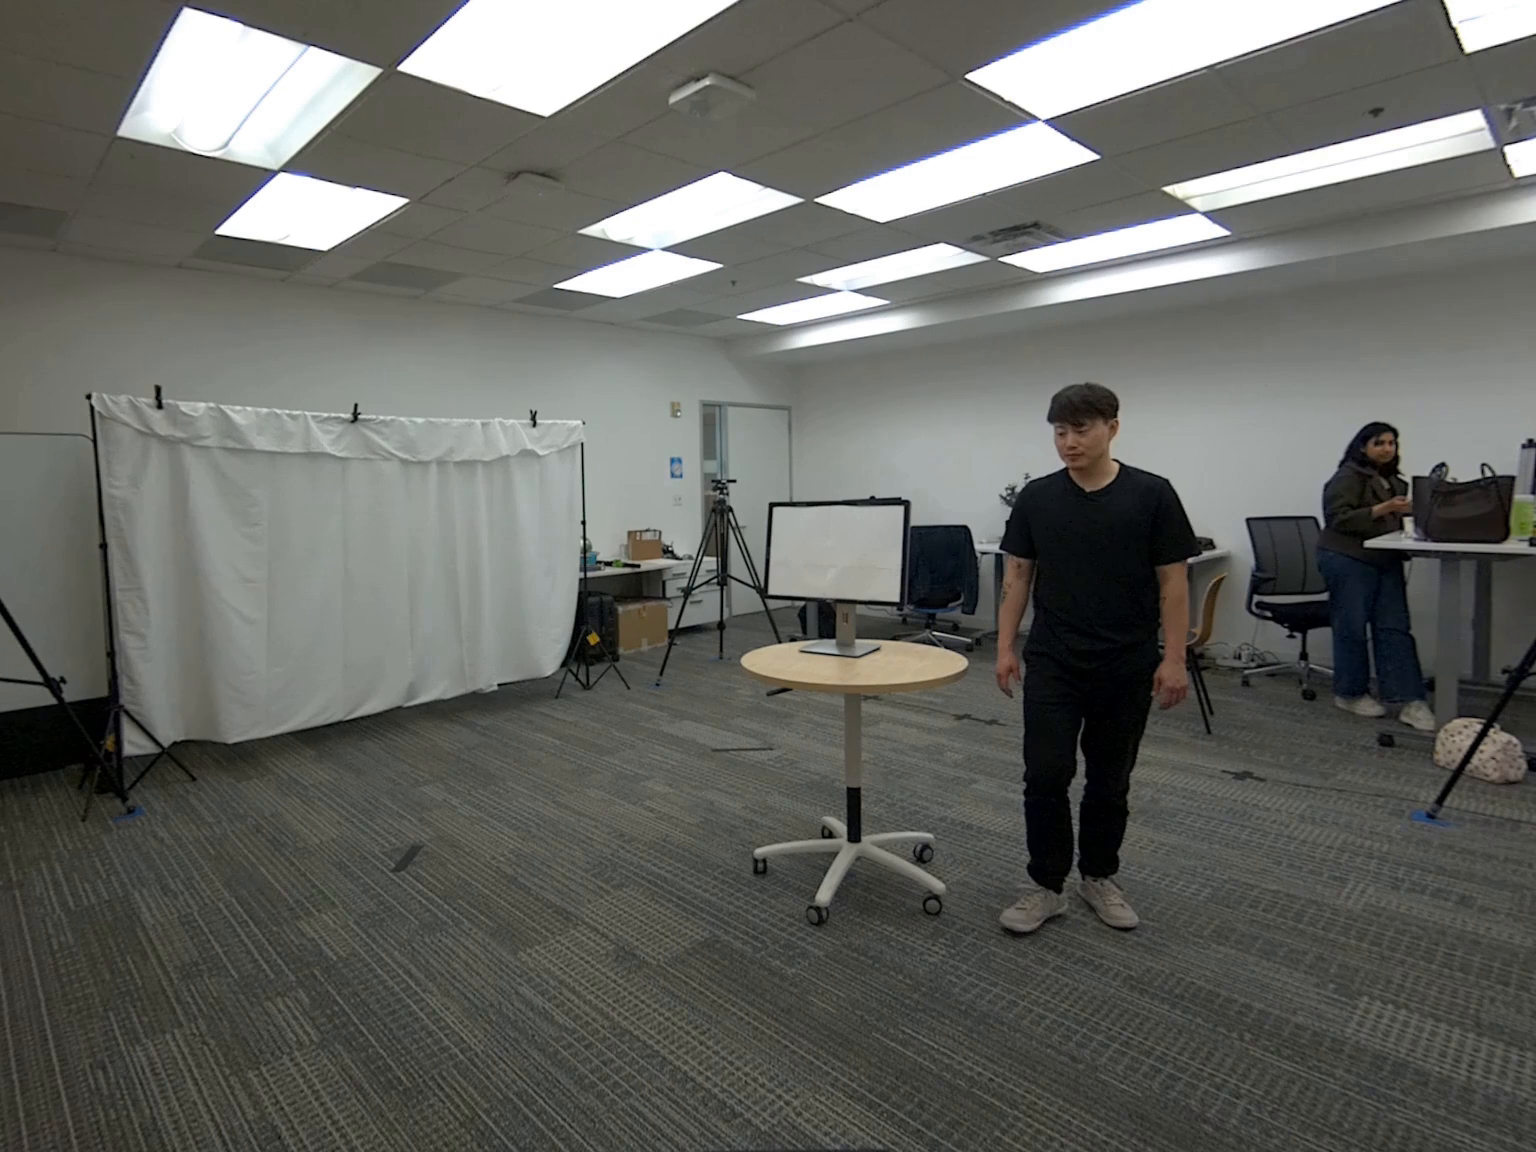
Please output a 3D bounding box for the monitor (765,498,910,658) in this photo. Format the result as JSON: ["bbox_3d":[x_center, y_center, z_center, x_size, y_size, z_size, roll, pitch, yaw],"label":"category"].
[{"bbox_3d":[0.257,0.008,3.076,0.554,0.520,0.183,2,6,32],"label":"monitor"}]
